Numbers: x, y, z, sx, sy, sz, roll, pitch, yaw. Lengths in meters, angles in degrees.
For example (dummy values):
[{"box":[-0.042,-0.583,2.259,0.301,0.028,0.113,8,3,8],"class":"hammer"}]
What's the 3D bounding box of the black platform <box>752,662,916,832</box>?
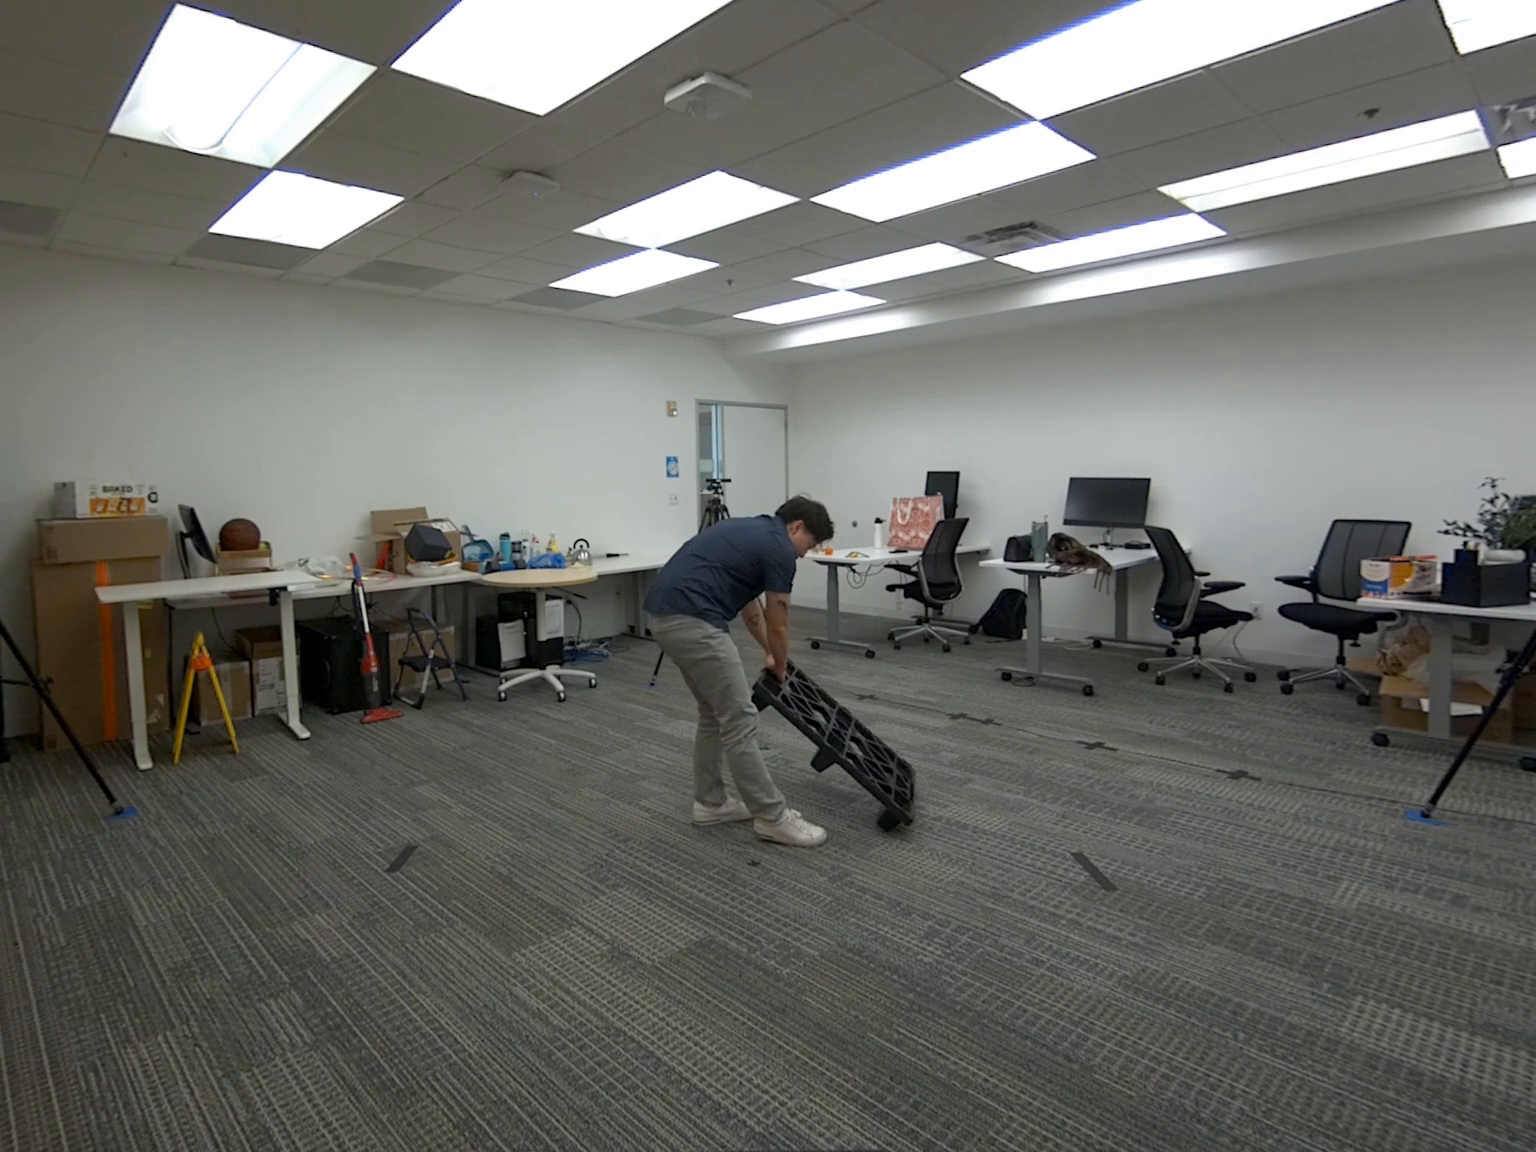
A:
[{"box":[0.266,0.689,3.625,0.815,0.143,0.599,41,10,7],"class":"black platform"}]
